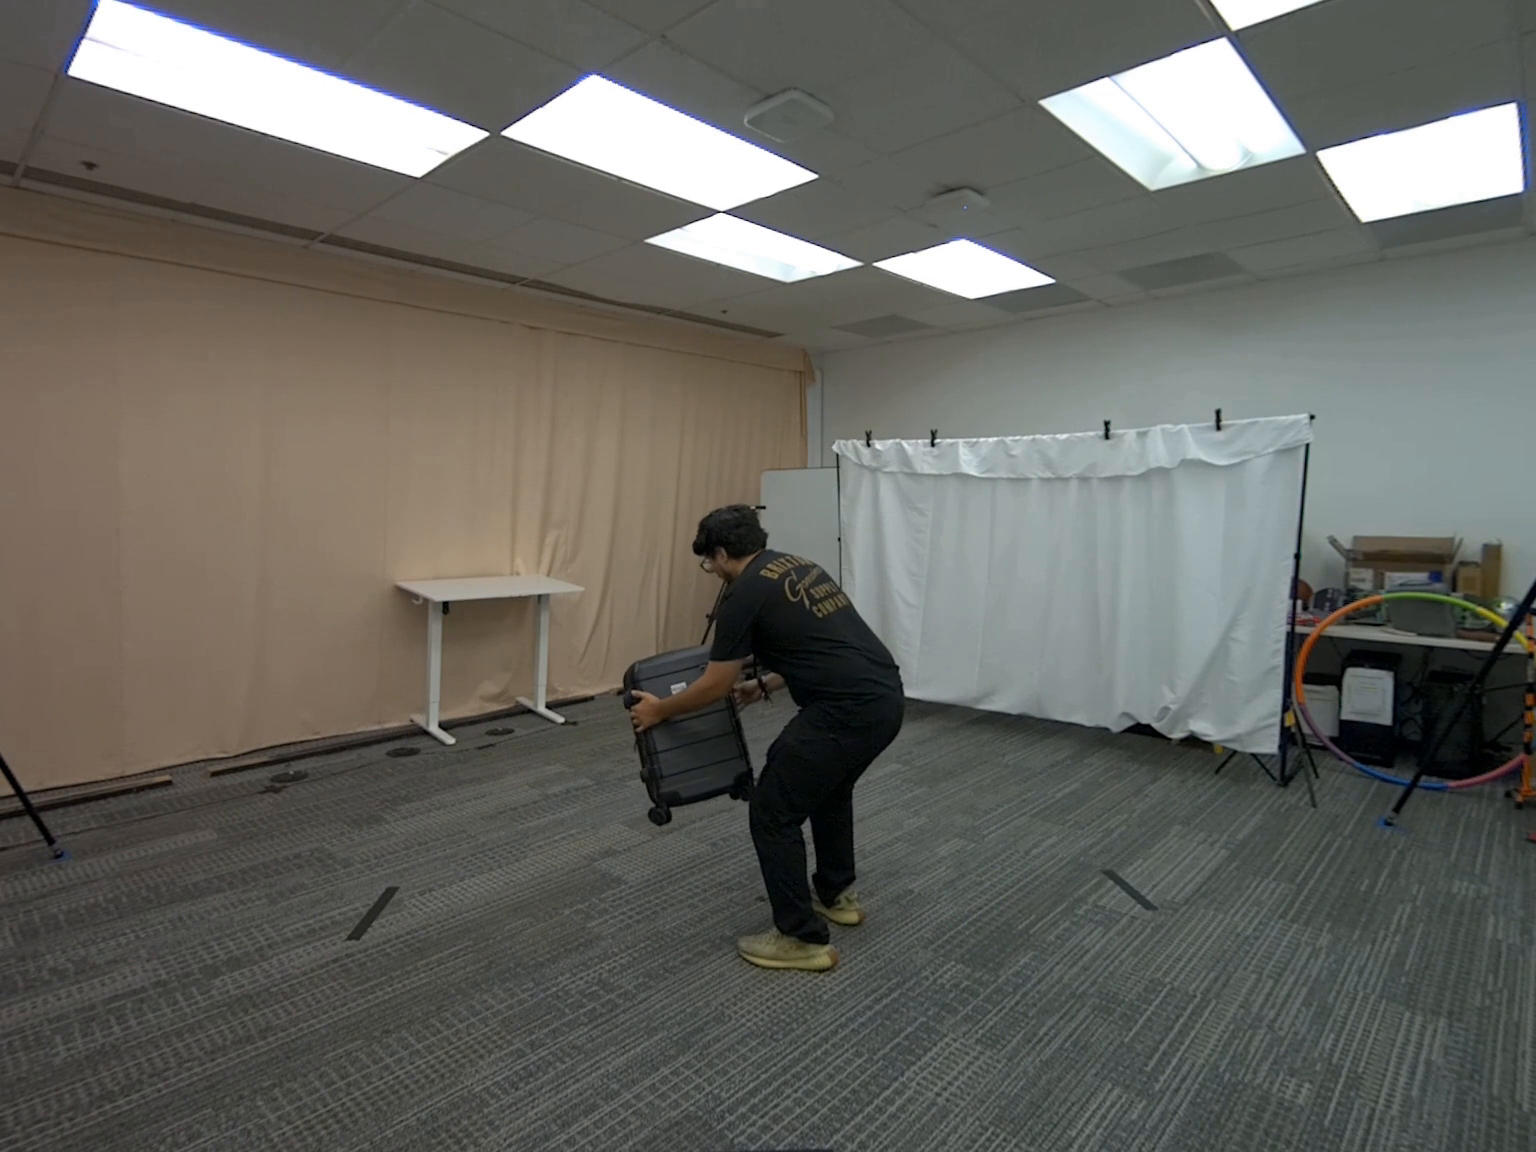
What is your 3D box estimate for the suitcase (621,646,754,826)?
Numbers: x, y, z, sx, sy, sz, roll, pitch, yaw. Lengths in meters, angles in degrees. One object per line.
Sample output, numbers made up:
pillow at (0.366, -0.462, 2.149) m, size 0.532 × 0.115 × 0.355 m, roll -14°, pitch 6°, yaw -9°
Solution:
suitcase at (-0.275, 0.525, 2.894) m, size 0.371 × 0.555 × 0.248 m, roll -12°, pitch -13°, yaw -12°
